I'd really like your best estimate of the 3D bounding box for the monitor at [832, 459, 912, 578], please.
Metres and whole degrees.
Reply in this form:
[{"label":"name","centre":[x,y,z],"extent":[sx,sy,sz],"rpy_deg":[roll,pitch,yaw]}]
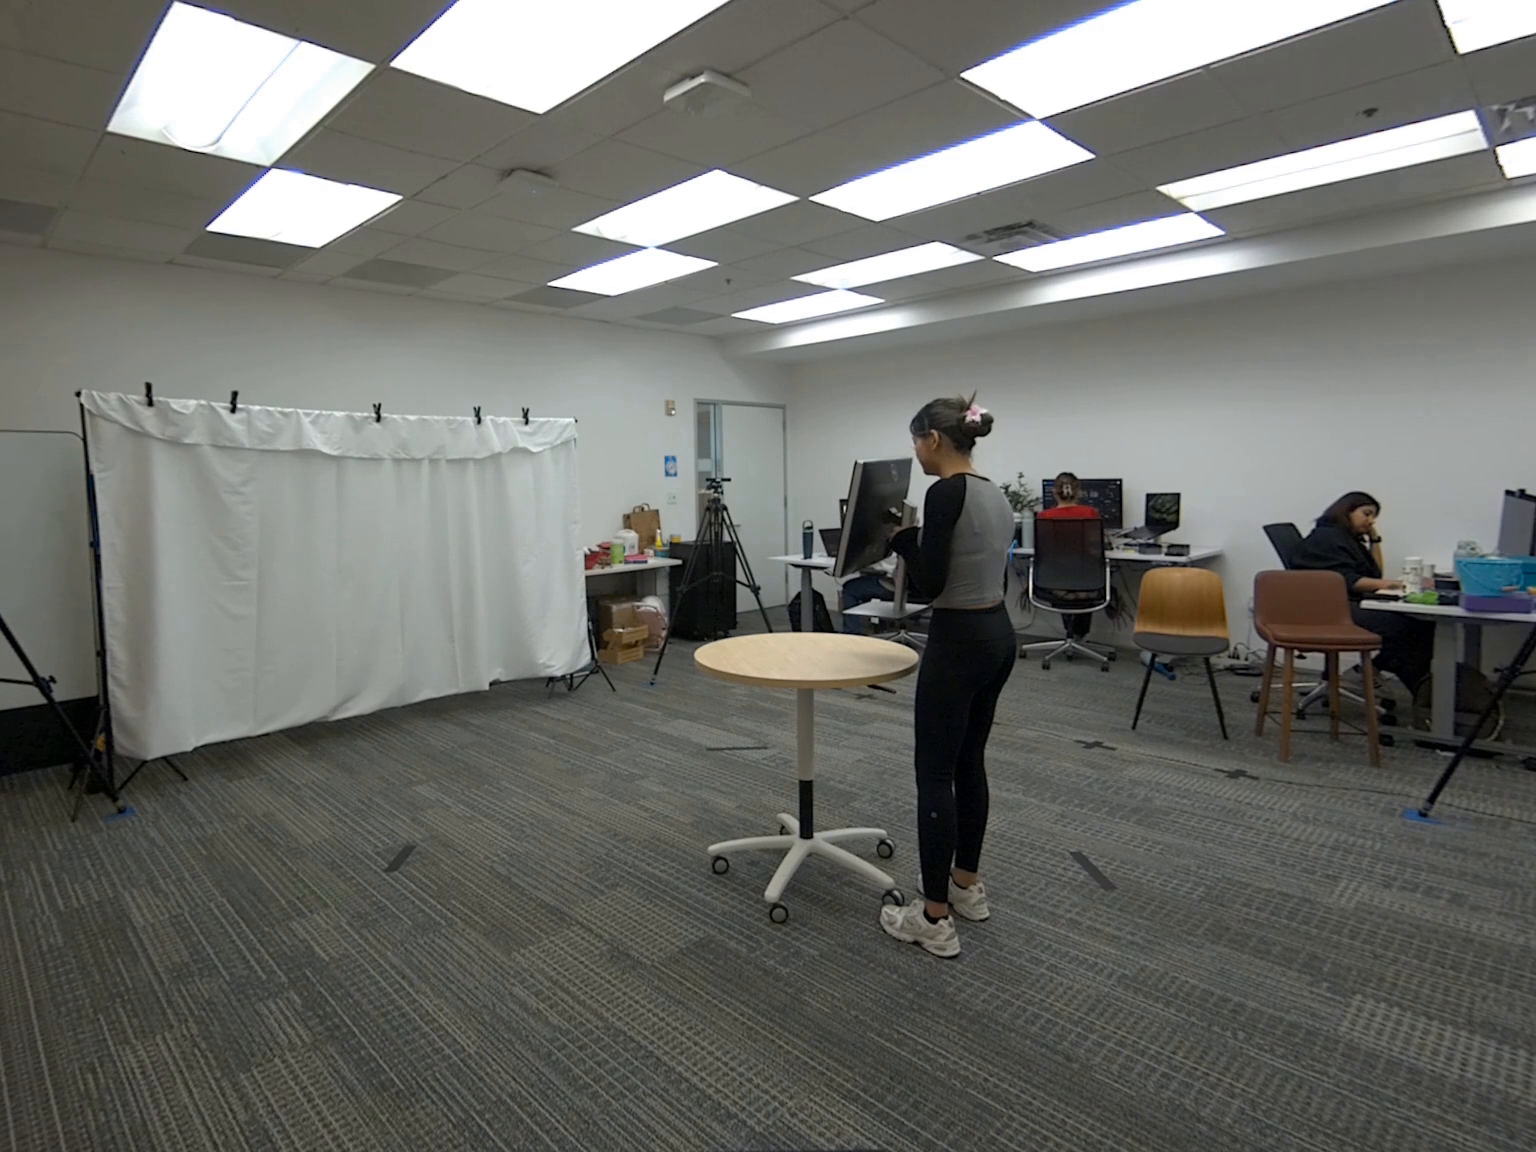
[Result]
[{"label":"monitor","centre":[0.394,-0.123,2.788],"extent":[0.191,0.520,0.530],"rpy_deg":[-1,7,23]}]
